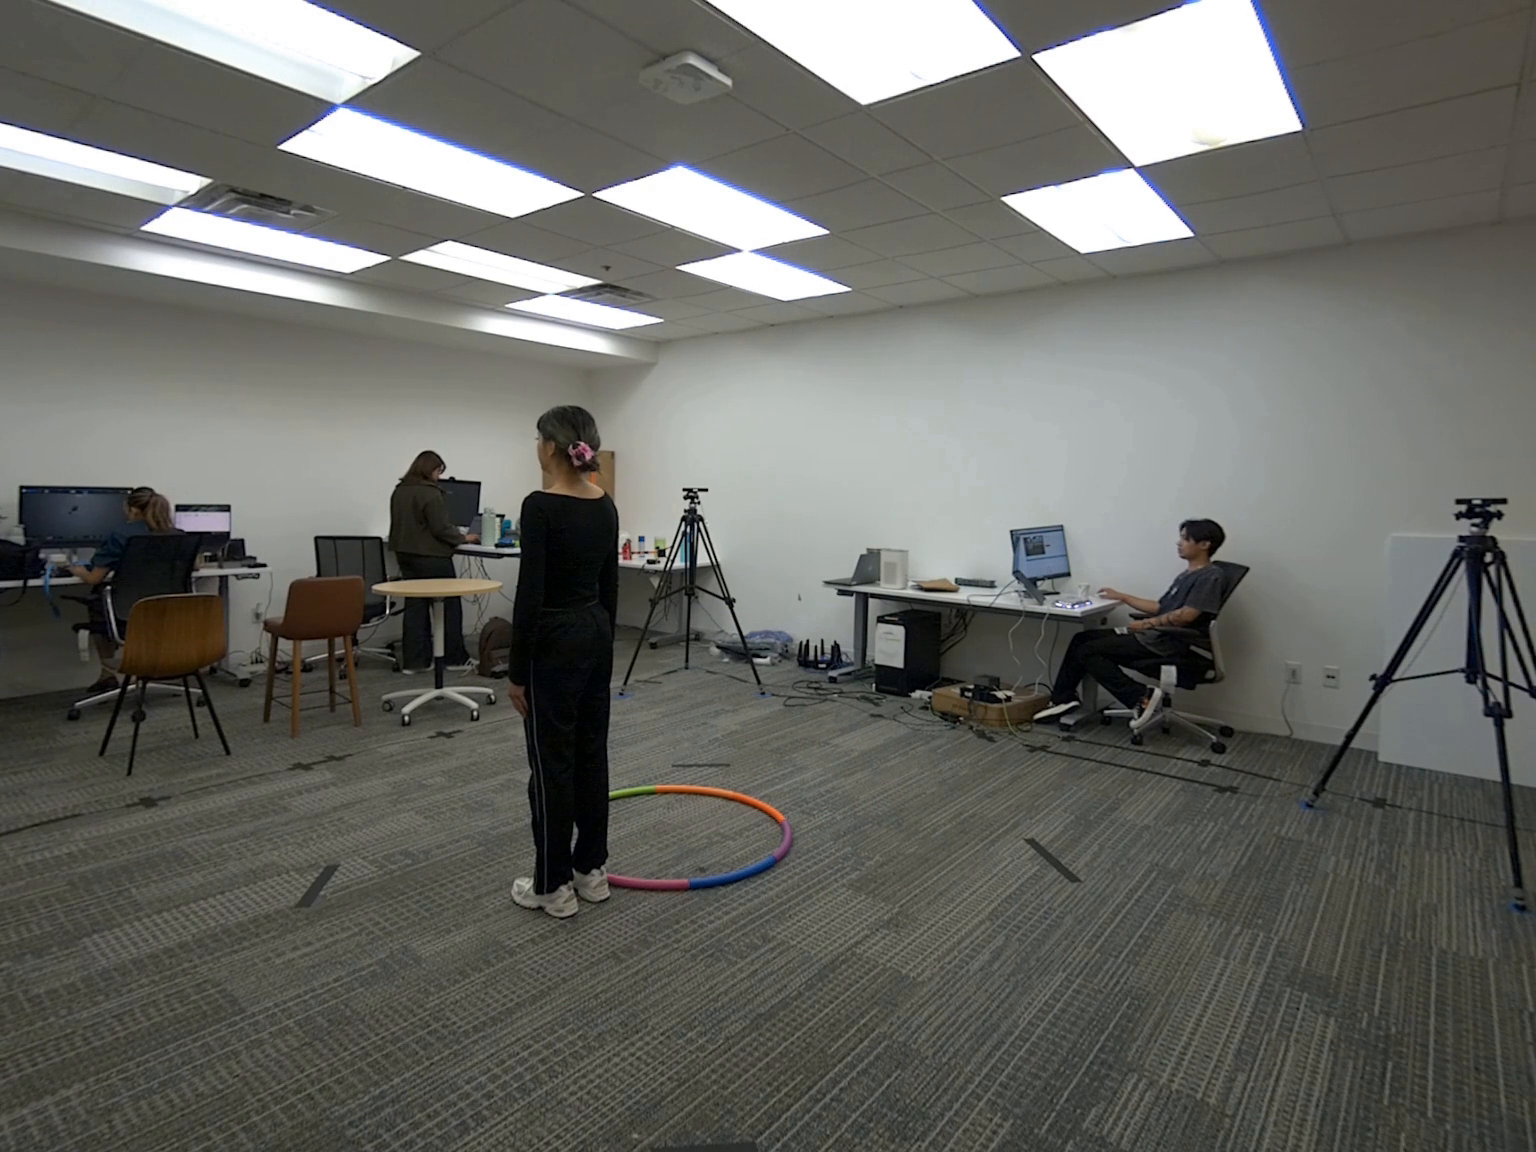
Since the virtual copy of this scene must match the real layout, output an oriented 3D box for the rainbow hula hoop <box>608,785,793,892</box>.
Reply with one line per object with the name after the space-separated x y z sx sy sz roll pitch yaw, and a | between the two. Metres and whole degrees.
-0.397 1.005 3.413 0.978 0.035 0.984 1 6 -2 | rainbow hula hoop
